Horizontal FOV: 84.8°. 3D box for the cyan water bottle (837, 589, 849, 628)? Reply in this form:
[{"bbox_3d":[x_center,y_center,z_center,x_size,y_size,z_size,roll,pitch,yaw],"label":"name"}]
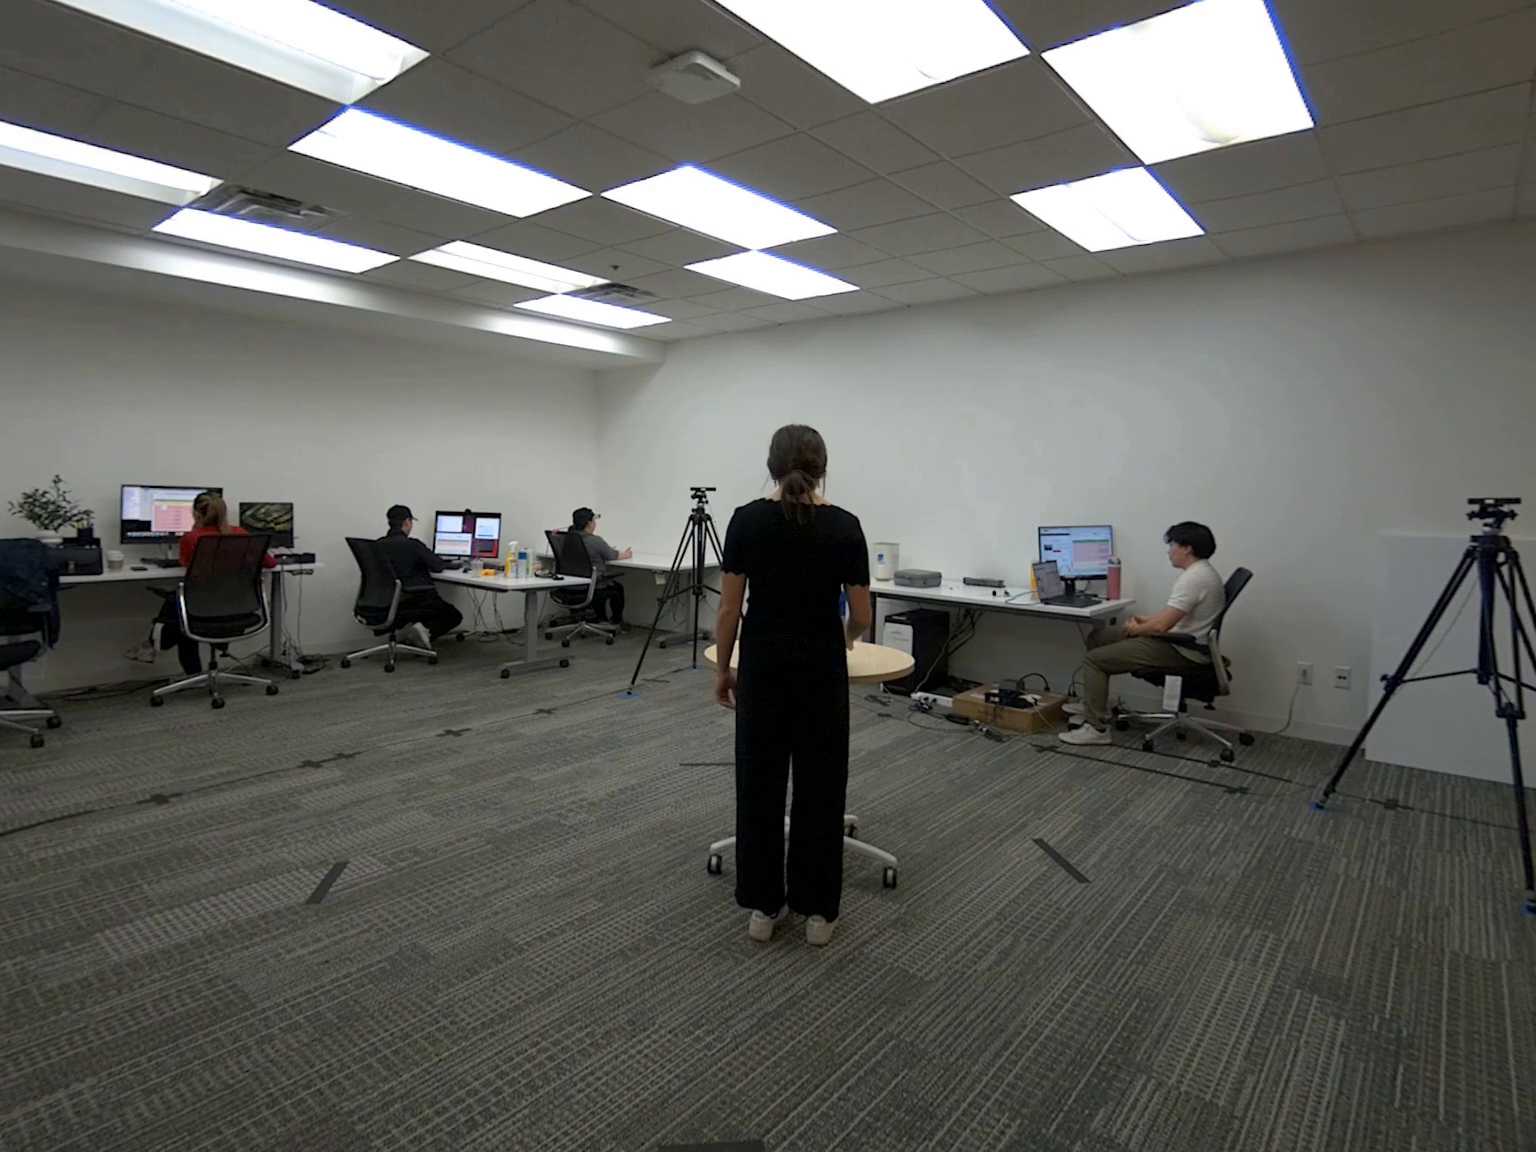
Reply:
[{"bbox_3d":[0.212,0.164,2.935,0.092,0.282,0.093,0,4,-2],"label":"cyan water bottle"}]
